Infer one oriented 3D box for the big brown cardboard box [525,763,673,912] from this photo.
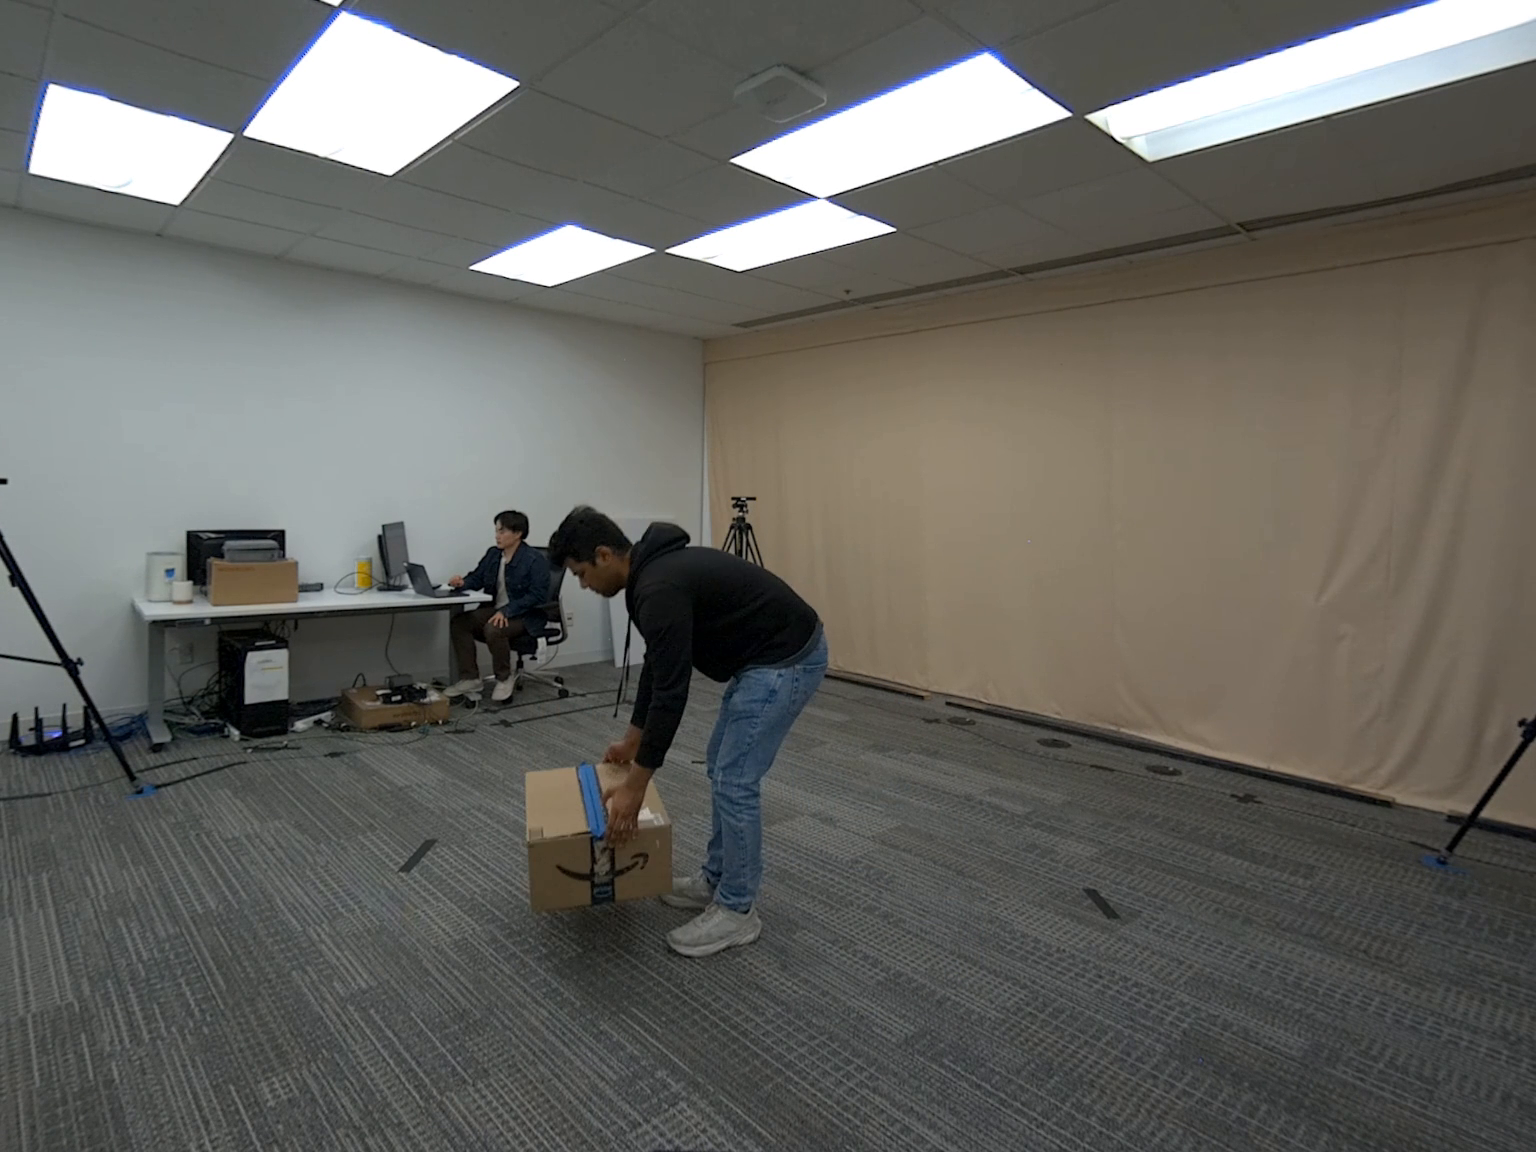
[{"bbox_3d":[-0.566,0.803,2.705,0.413,0.232,0.598,-2,7,-15],"label":"big brown cardboard box"}]
